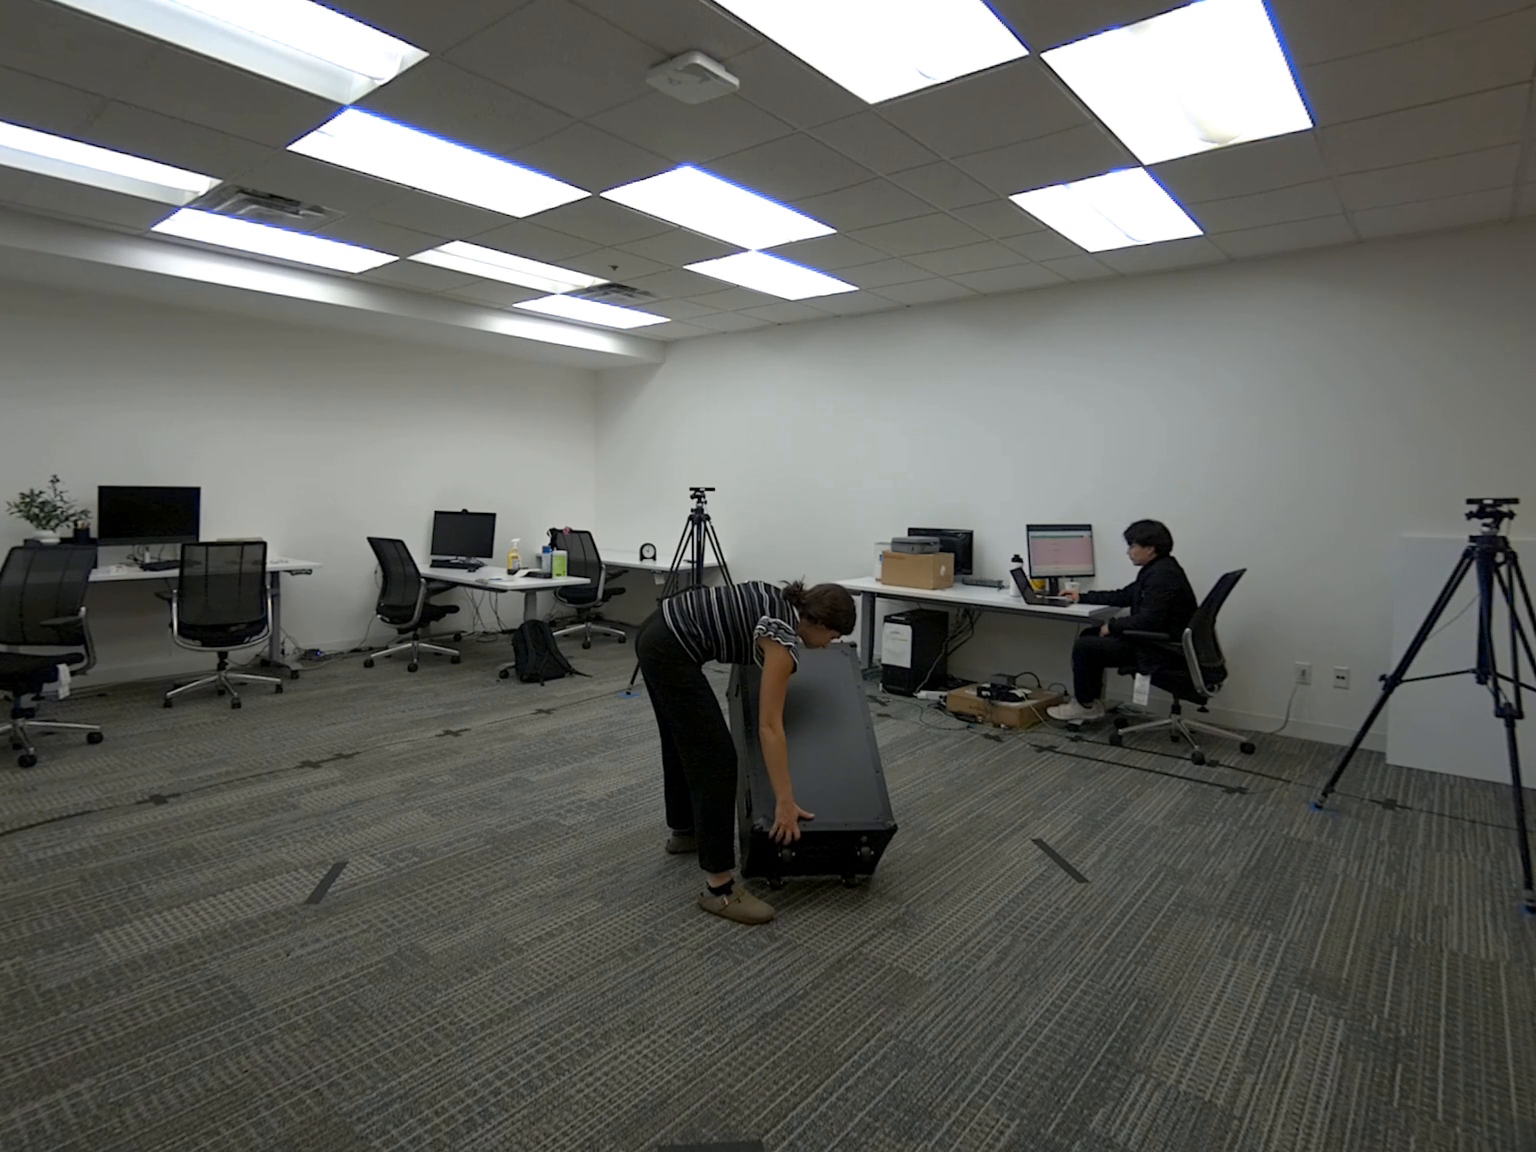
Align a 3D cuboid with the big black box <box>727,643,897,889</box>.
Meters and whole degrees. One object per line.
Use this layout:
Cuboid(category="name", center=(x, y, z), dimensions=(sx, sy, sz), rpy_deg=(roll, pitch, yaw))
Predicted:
Cuboid(category="big black box", center=(0.123, 0.692, 3.194), dimensions=(0.517, 0.387, 0.890), rpy_deg=(0, 47, -8))
